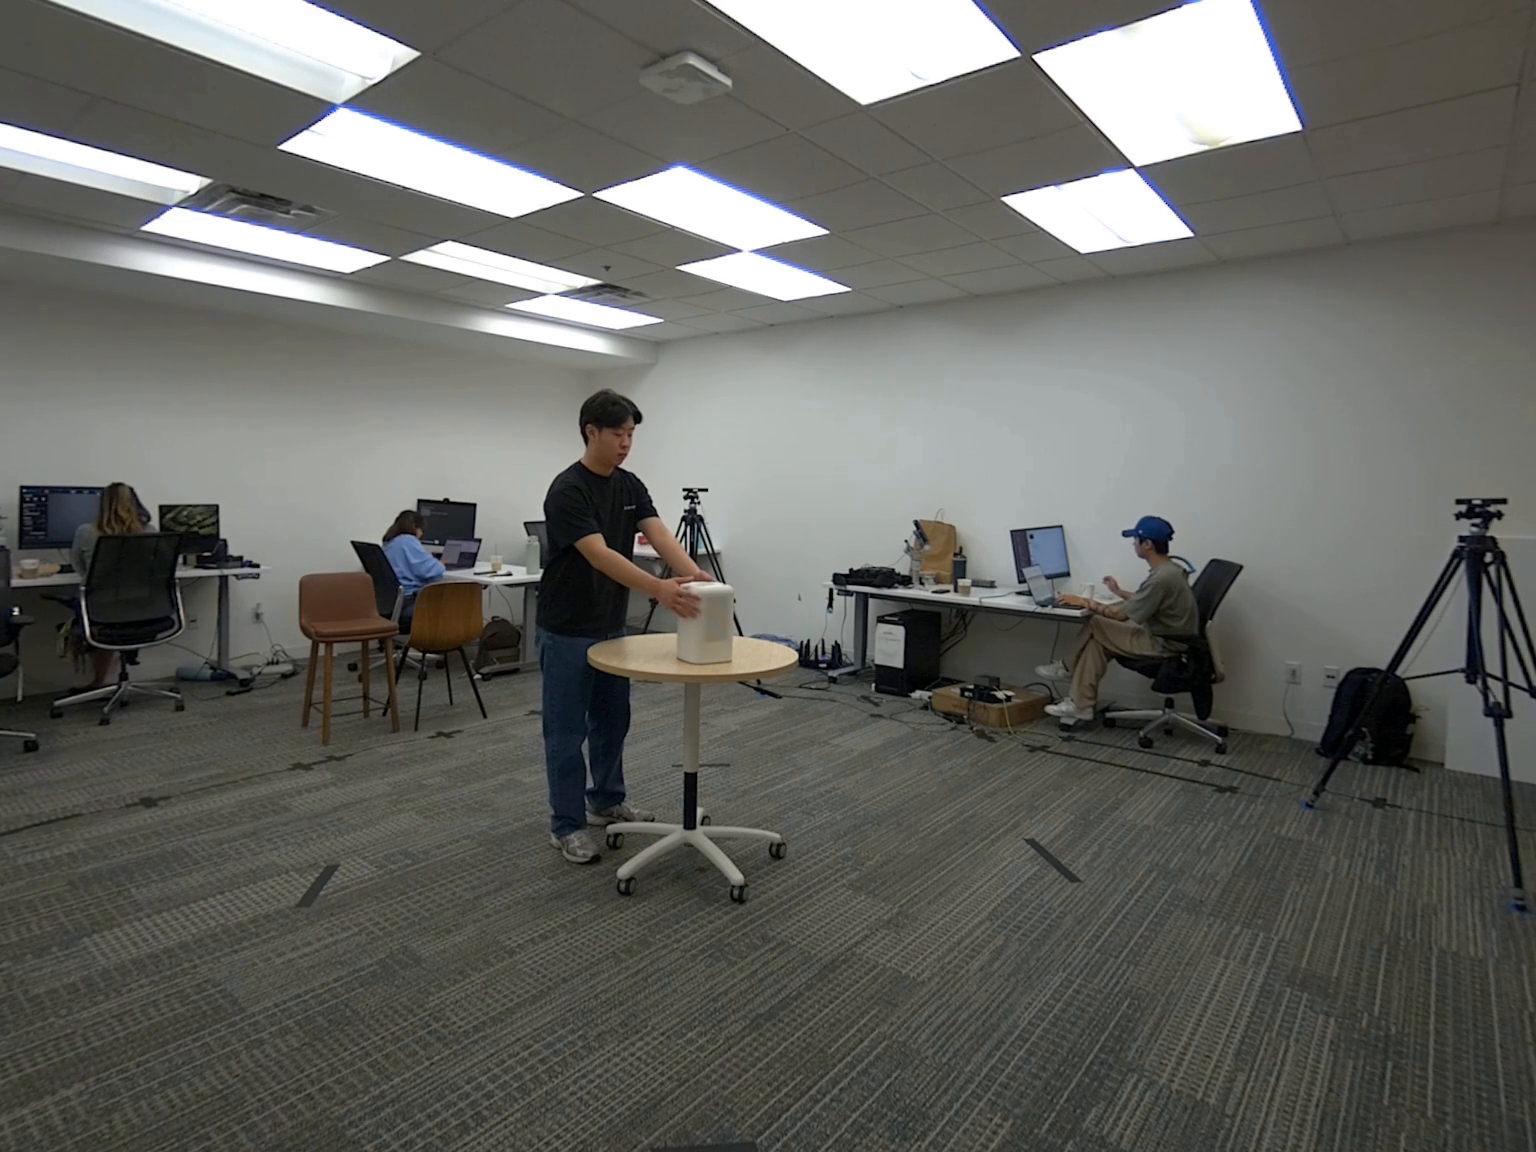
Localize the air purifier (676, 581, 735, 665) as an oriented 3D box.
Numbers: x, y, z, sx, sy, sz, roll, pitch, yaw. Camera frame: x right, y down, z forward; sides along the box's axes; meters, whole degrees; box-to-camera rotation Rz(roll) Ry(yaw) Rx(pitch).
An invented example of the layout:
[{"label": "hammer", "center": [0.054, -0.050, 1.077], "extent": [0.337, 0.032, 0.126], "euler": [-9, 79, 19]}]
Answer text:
[{"label": "air purifier", "center": [-0.226, 0.156, 2.960], "extent": [0.167, 0.264, 0.176], "euler": [-2, 6, -29]}]
